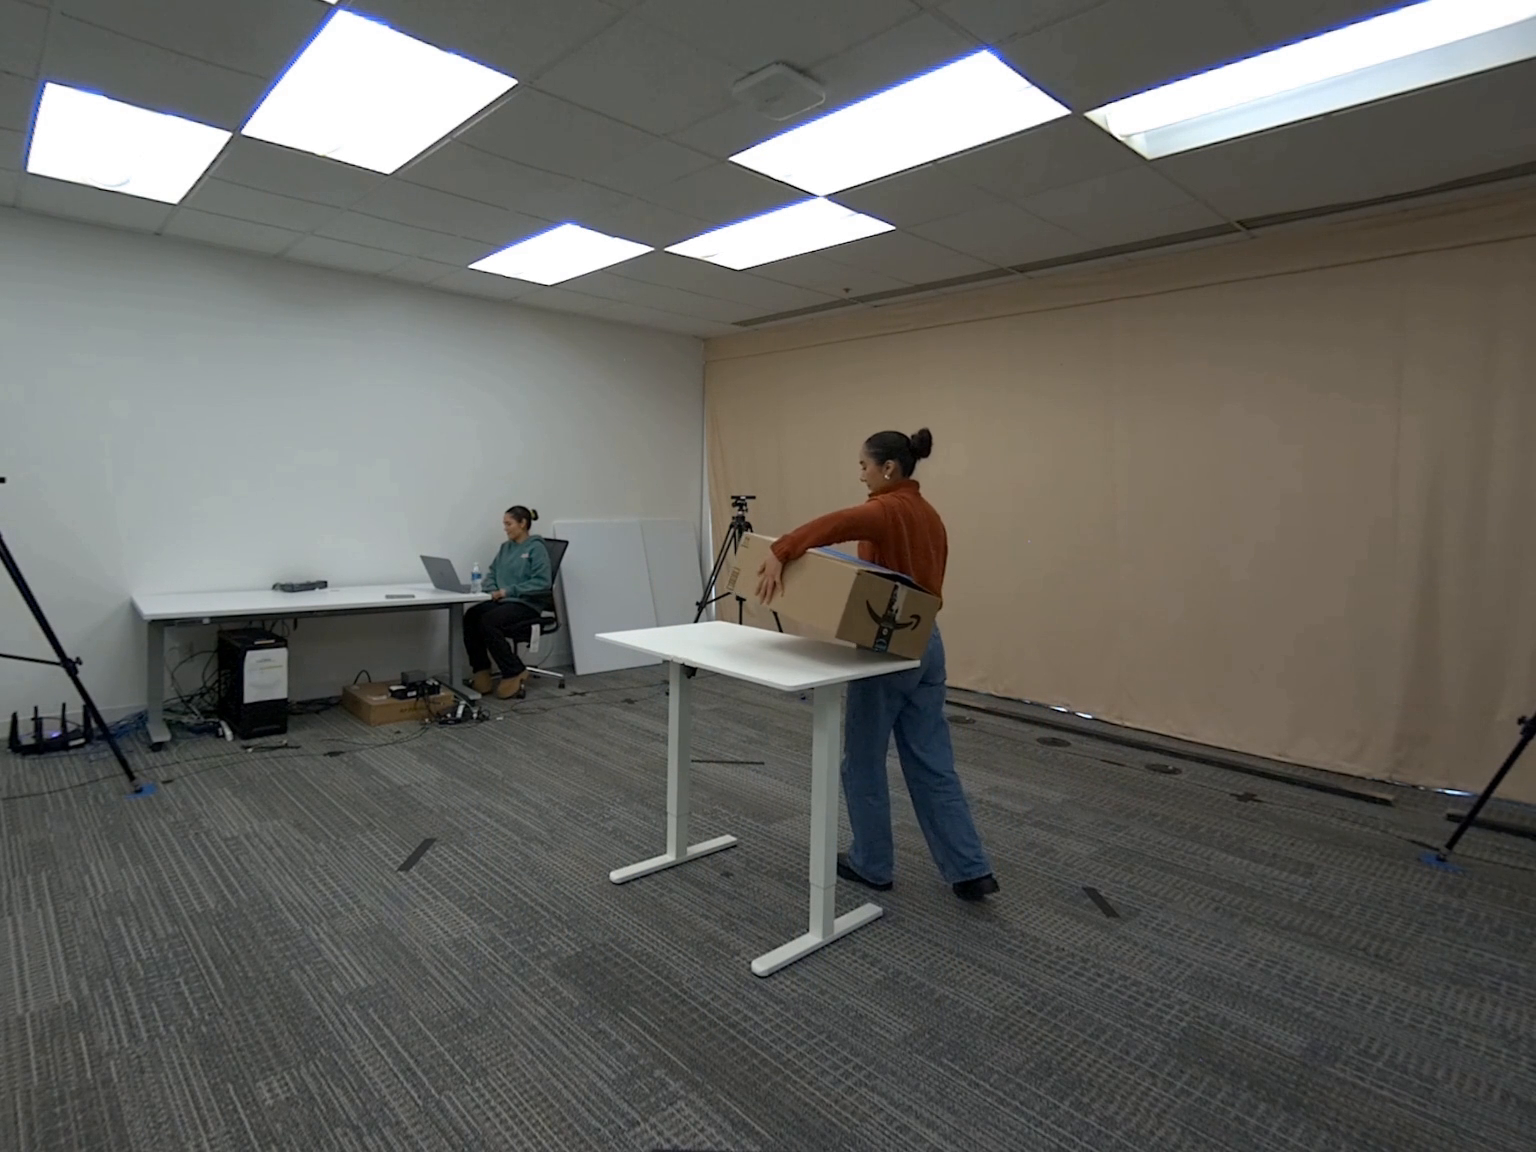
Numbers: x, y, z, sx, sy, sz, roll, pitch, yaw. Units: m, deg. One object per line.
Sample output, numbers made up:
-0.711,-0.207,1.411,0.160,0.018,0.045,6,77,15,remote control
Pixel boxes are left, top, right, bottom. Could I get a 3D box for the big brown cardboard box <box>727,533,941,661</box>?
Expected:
0.200,0.060,2.806,0.406,0.233,0.606,17,4,-39,big brown cardboard box
